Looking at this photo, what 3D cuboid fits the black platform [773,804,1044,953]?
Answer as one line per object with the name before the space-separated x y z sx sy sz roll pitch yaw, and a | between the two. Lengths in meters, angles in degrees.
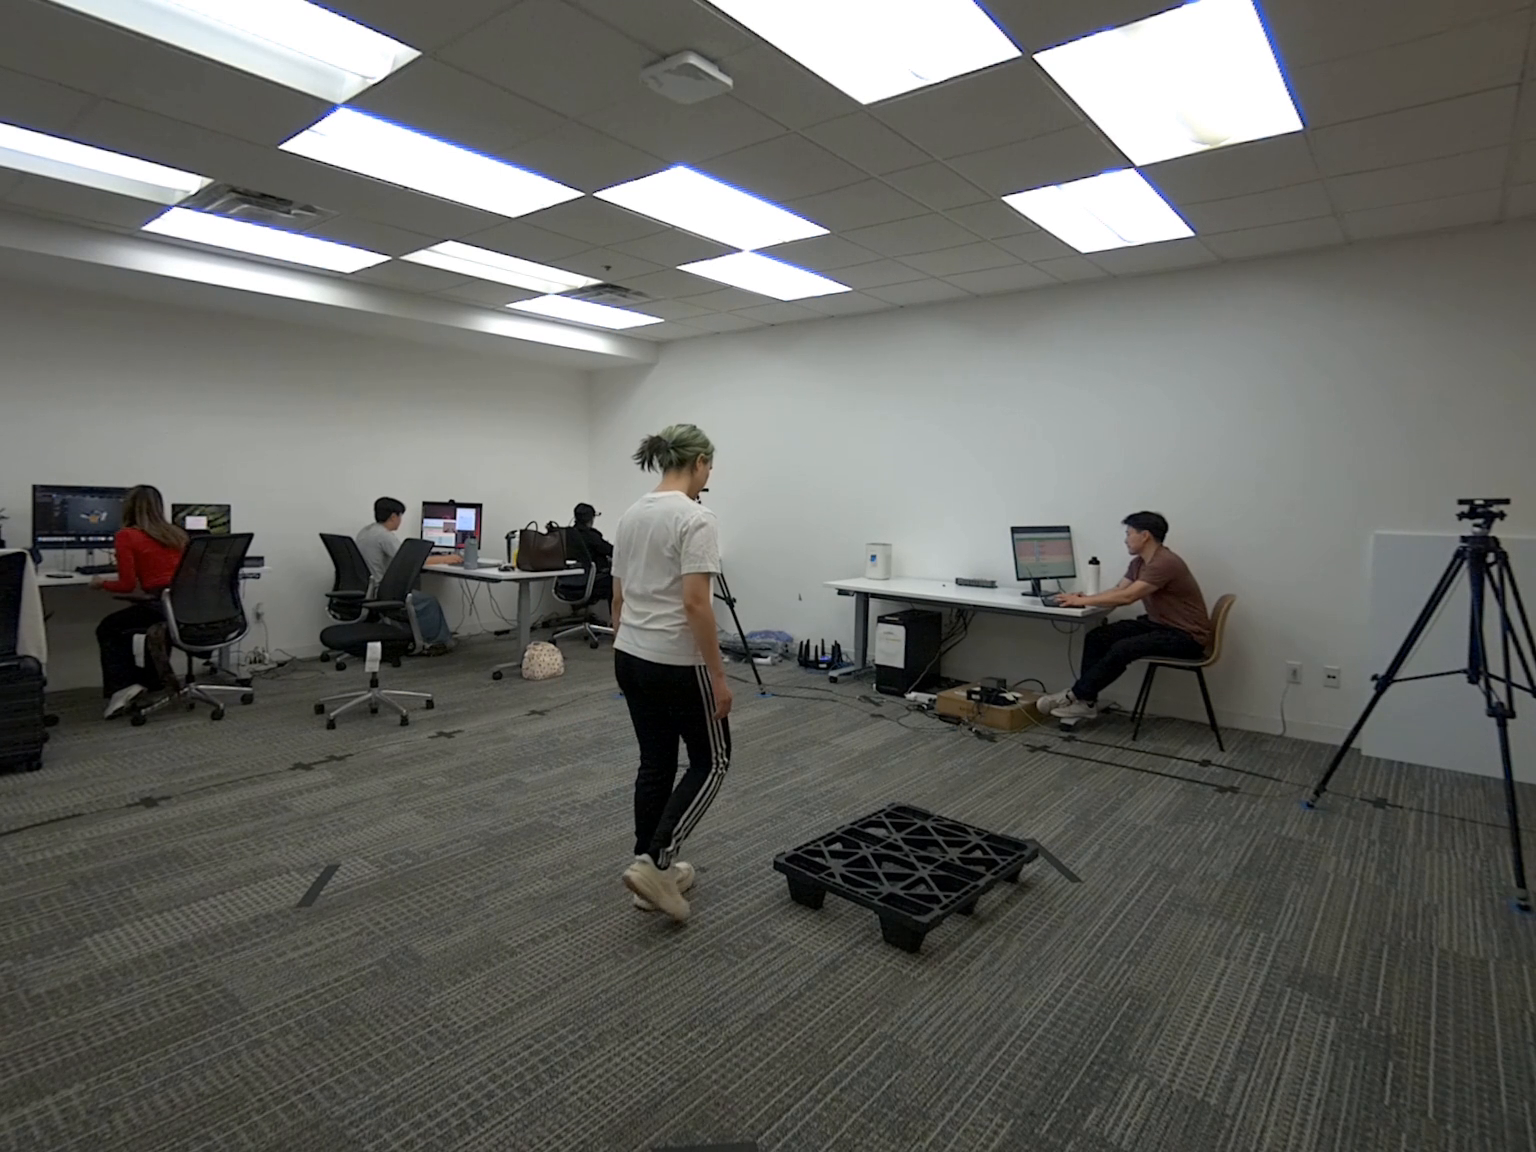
black platform | 0.481 1.030 2.987 0.626 0.143 0.781 6 7 42
